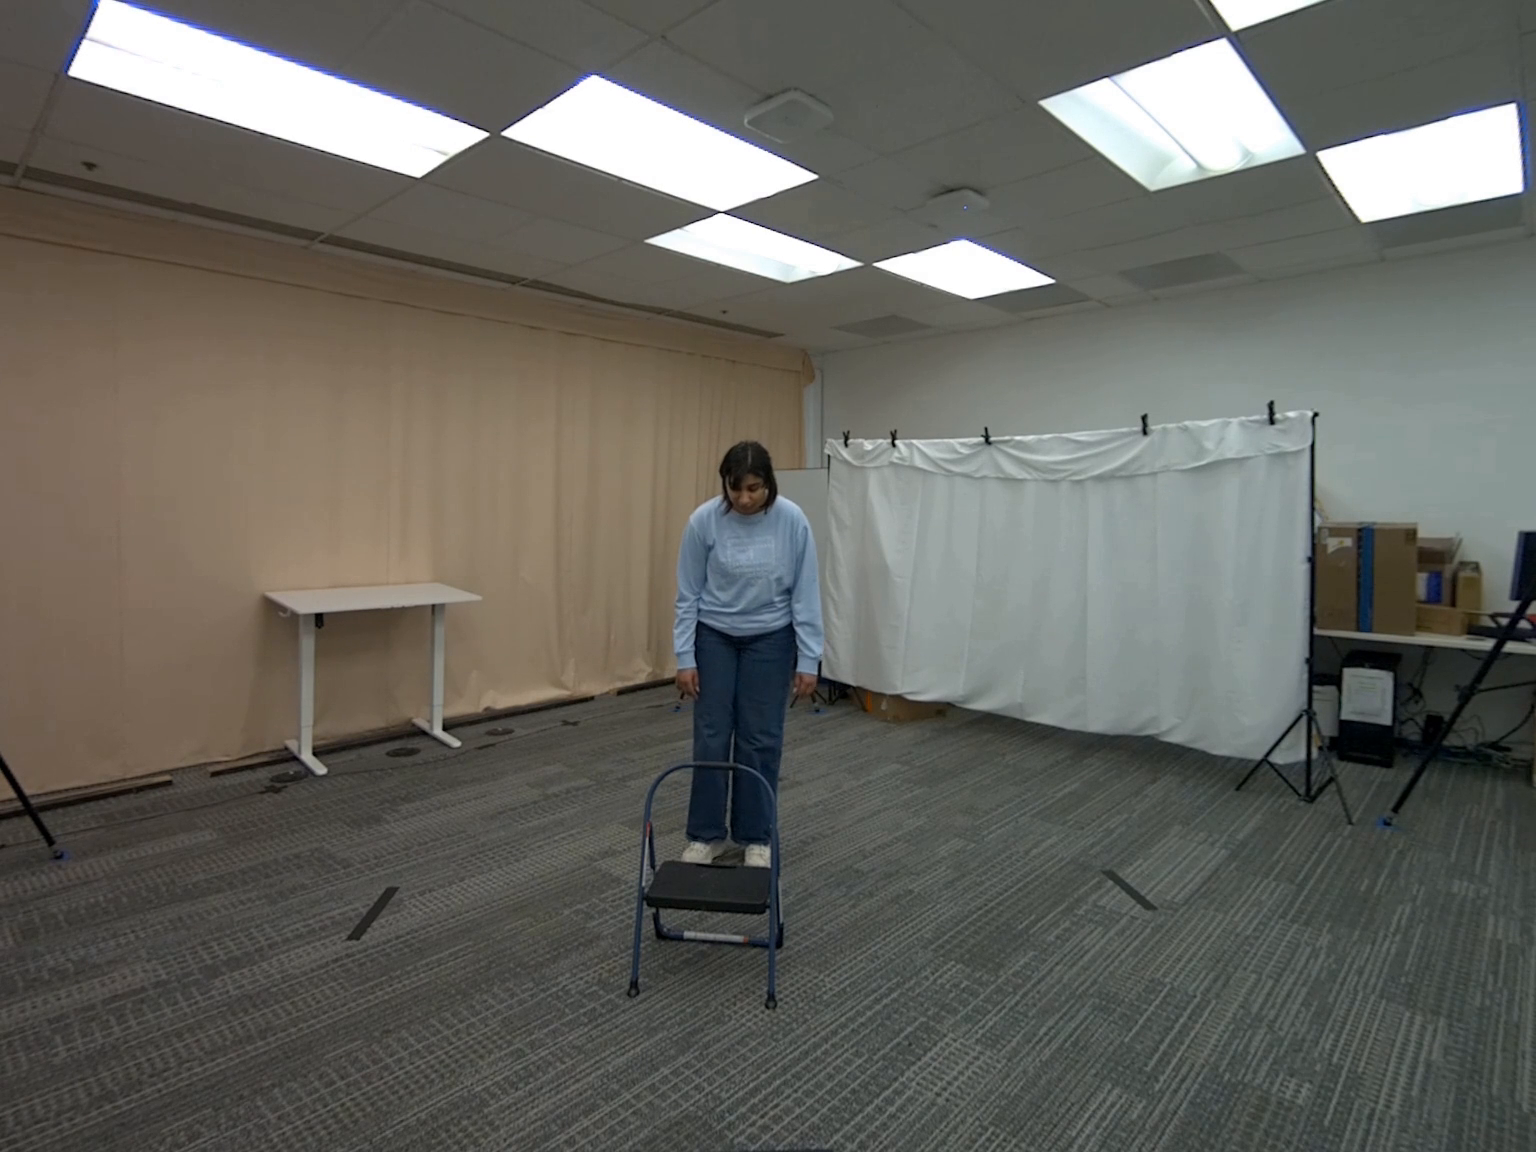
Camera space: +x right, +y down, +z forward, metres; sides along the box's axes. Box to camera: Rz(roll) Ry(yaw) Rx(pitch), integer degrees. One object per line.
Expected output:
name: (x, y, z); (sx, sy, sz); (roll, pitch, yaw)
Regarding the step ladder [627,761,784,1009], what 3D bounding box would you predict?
step ladder: (-0.172, 0.876, 2.518); (0.435, 0.605, 0.347); (1, 3, 8)
